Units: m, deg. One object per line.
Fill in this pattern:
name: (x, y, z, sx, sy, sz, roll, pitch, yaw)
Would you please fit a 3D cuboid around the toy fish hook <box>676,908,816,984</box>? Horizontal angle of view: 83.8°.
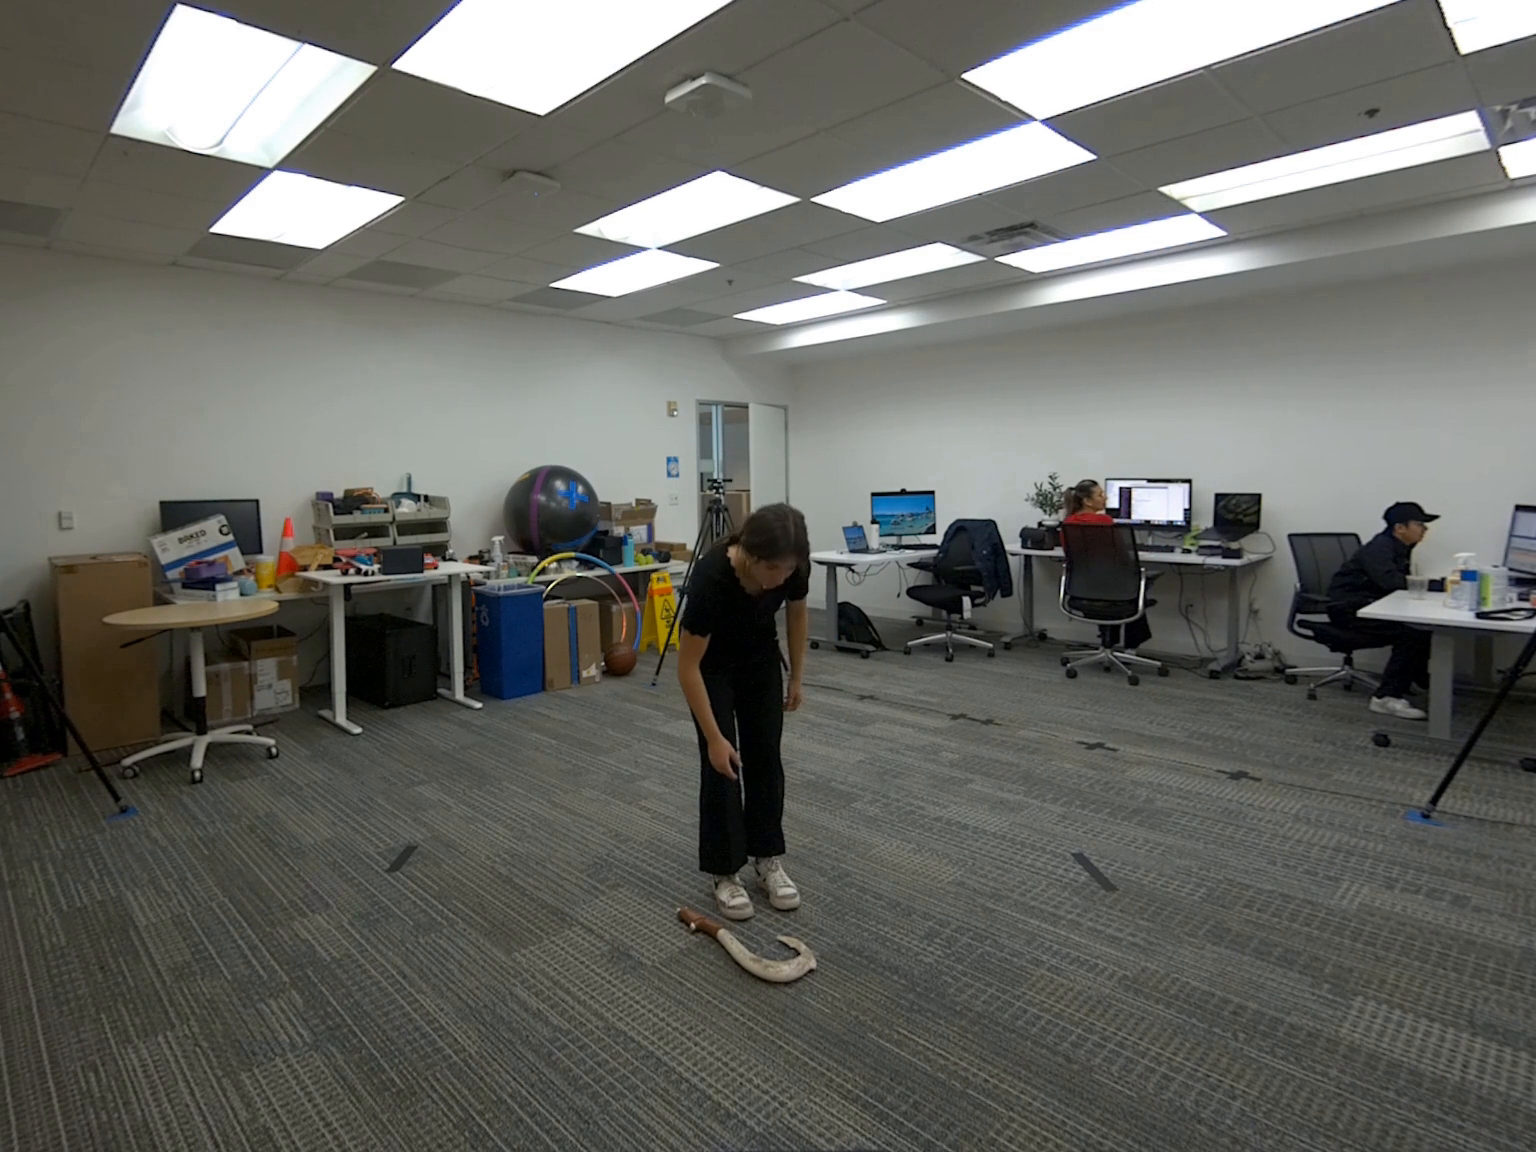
toy fish hook: (-0.069, 1.098, 2.576, 0.218, 0.048, 0.522, 4, 2, -43)
